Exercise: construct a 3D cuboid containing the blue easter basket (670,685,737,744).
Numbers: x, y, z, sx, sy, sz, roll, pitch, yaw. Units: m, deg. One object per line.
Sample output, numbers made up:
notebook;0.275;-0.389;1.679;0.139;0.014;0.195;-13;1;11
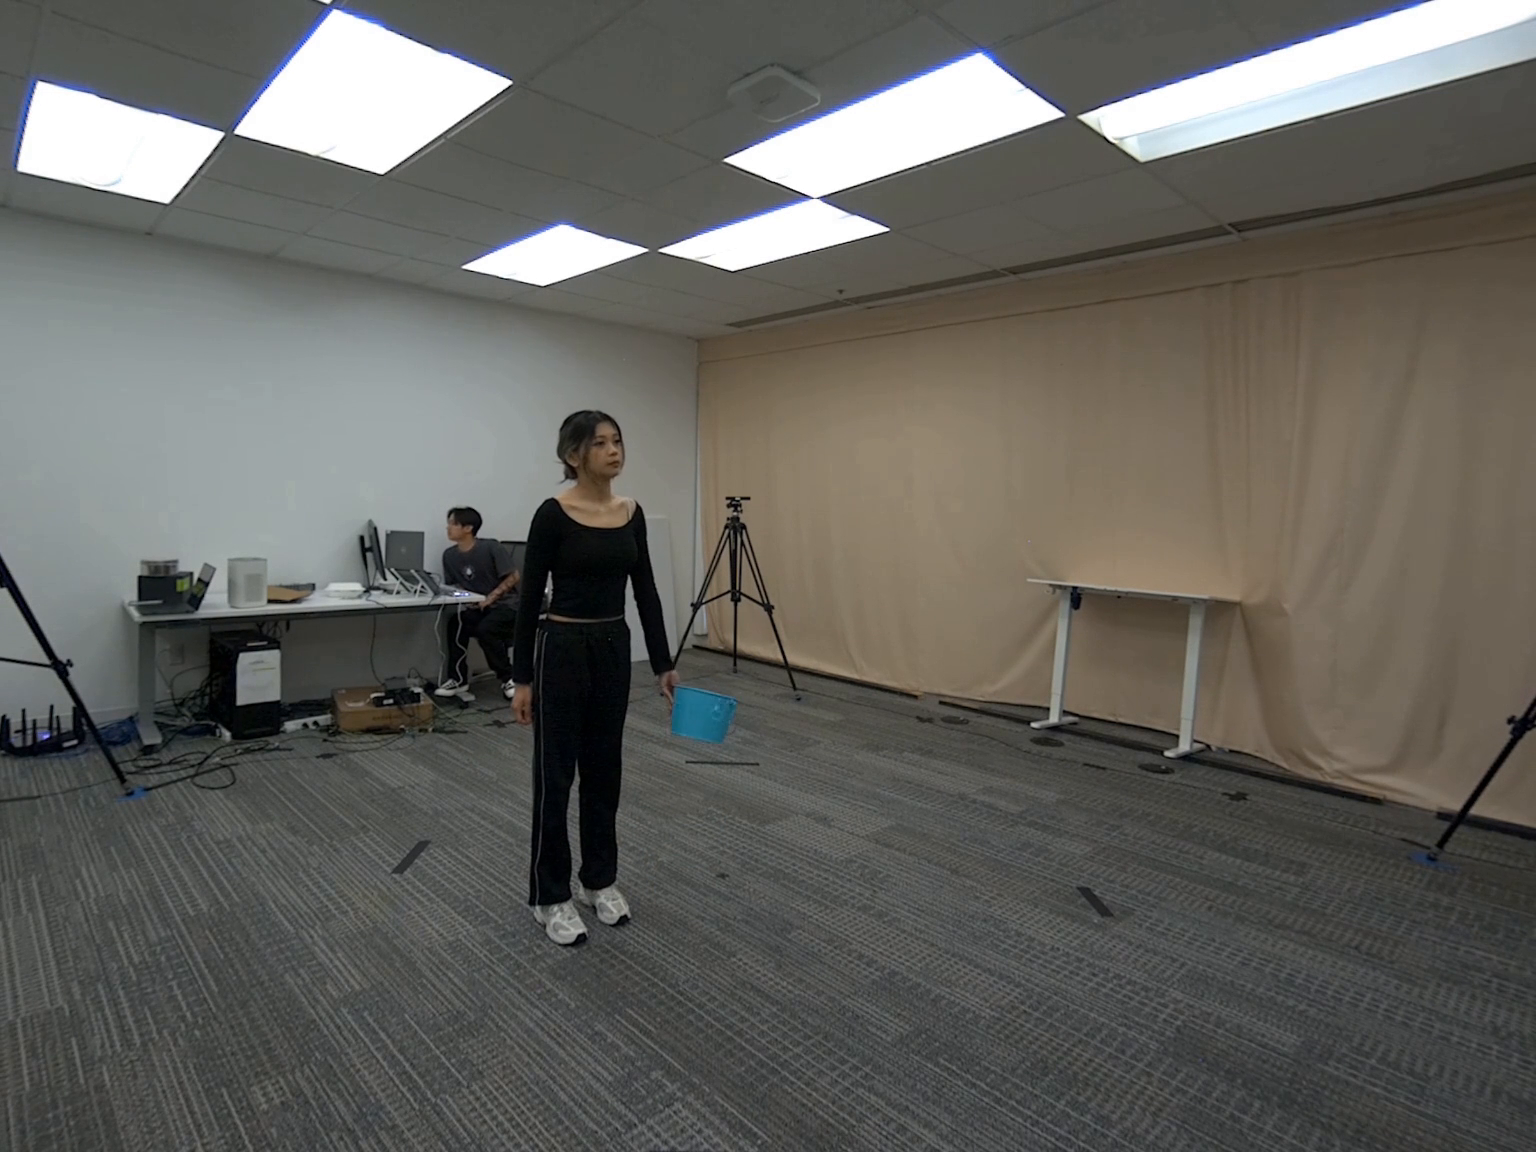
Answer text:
blue easter basket;-0.218;0.457;2.798;0.244;0.157;0.242;12;-10;1
